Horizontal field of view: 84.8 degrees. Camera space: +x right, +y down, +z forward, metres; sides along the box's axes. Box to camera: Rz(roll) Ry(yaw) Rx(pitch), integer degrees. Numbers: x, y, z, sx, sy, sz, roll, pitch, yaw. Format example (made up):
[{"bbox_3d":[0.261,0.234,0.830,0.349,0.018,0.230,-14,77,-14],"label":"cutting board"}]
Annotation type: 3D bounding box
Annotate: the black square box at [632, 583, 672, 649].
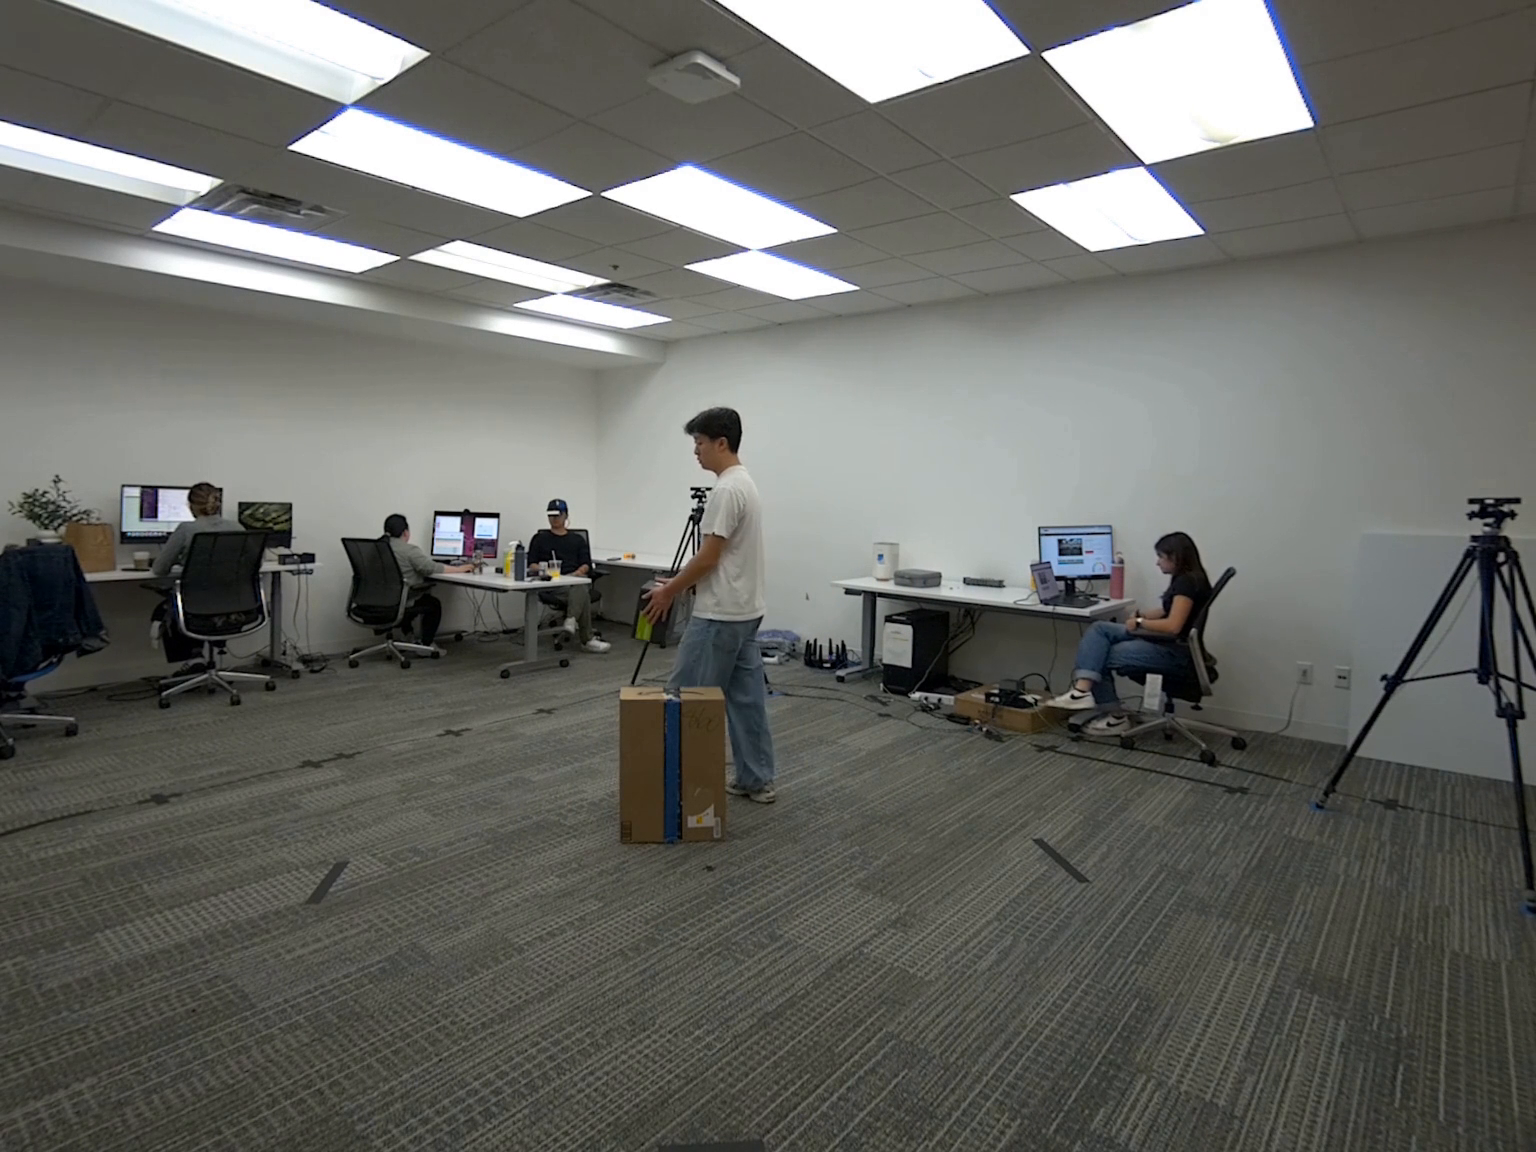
[{"bbox_3d":[-0.517,0.163,3.809,0.157,0.226,0.217,13,10,3],"label":"black square box"}]
